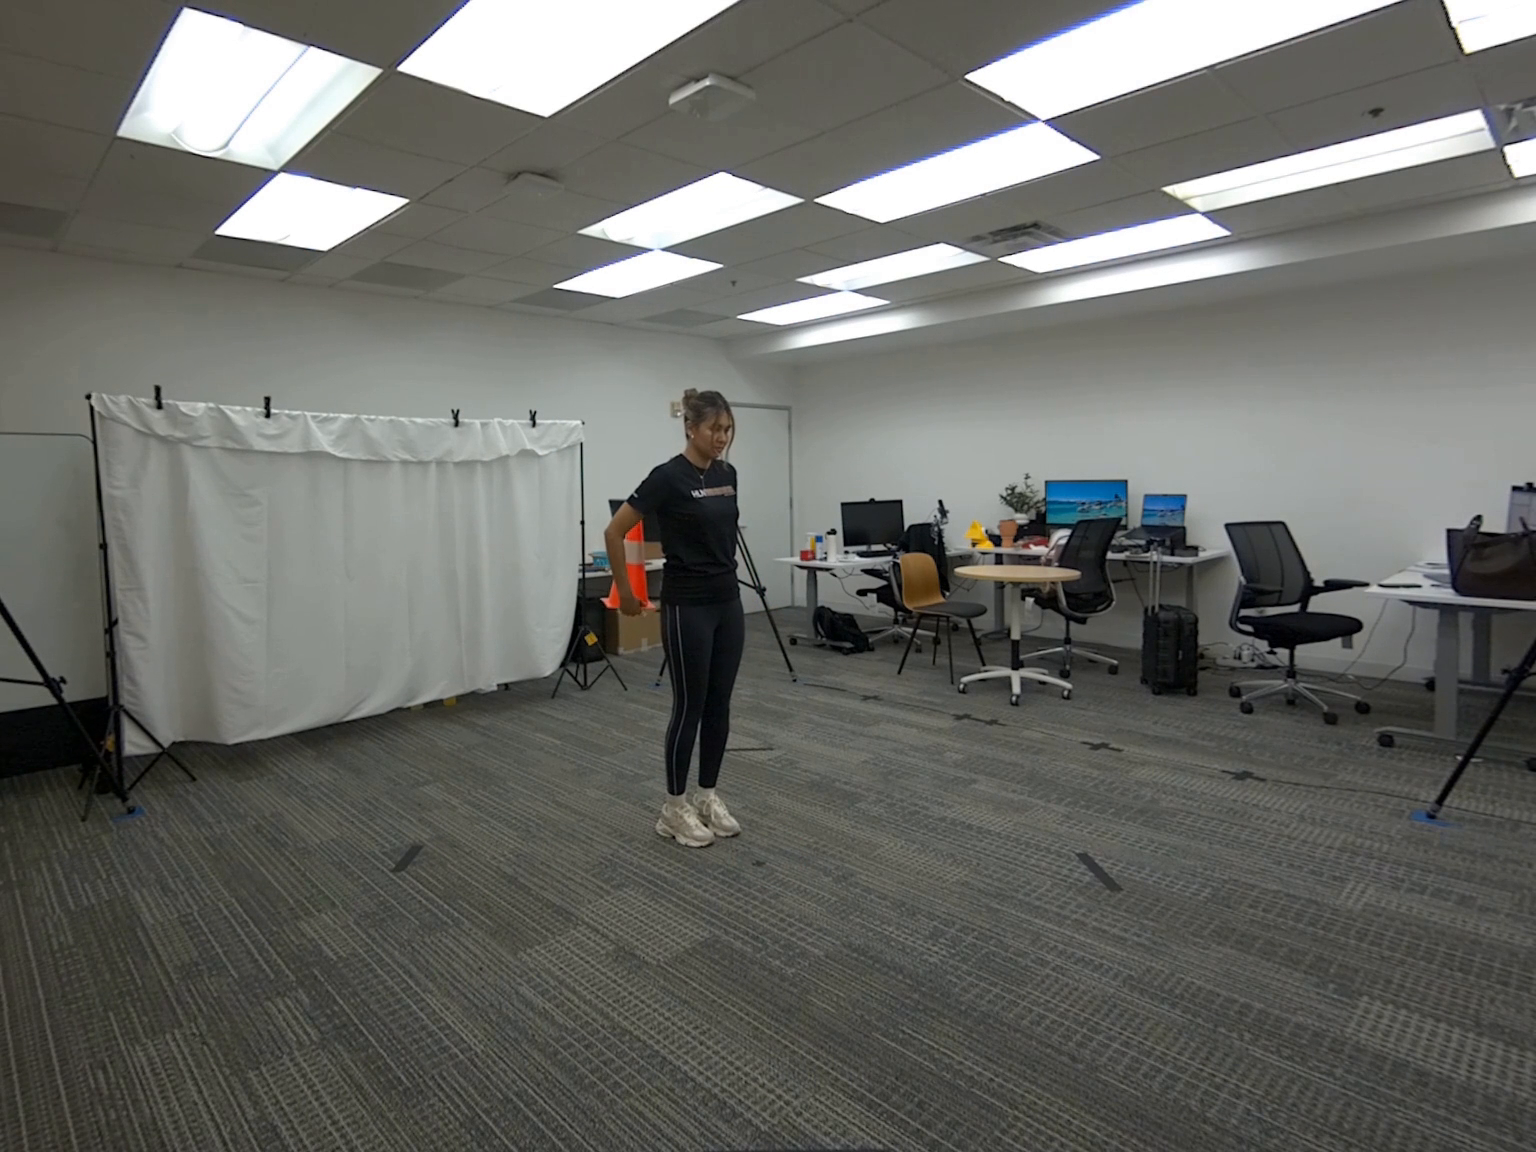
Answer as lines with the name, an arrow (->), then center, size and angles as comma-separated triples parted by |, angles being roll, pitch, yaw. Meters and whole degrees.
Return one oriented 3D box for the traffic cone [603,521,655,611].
traffic cone -> -0.528, -0.077, 3.397 | 0.199, 0.381, 0.211 | 0, 8, -27
